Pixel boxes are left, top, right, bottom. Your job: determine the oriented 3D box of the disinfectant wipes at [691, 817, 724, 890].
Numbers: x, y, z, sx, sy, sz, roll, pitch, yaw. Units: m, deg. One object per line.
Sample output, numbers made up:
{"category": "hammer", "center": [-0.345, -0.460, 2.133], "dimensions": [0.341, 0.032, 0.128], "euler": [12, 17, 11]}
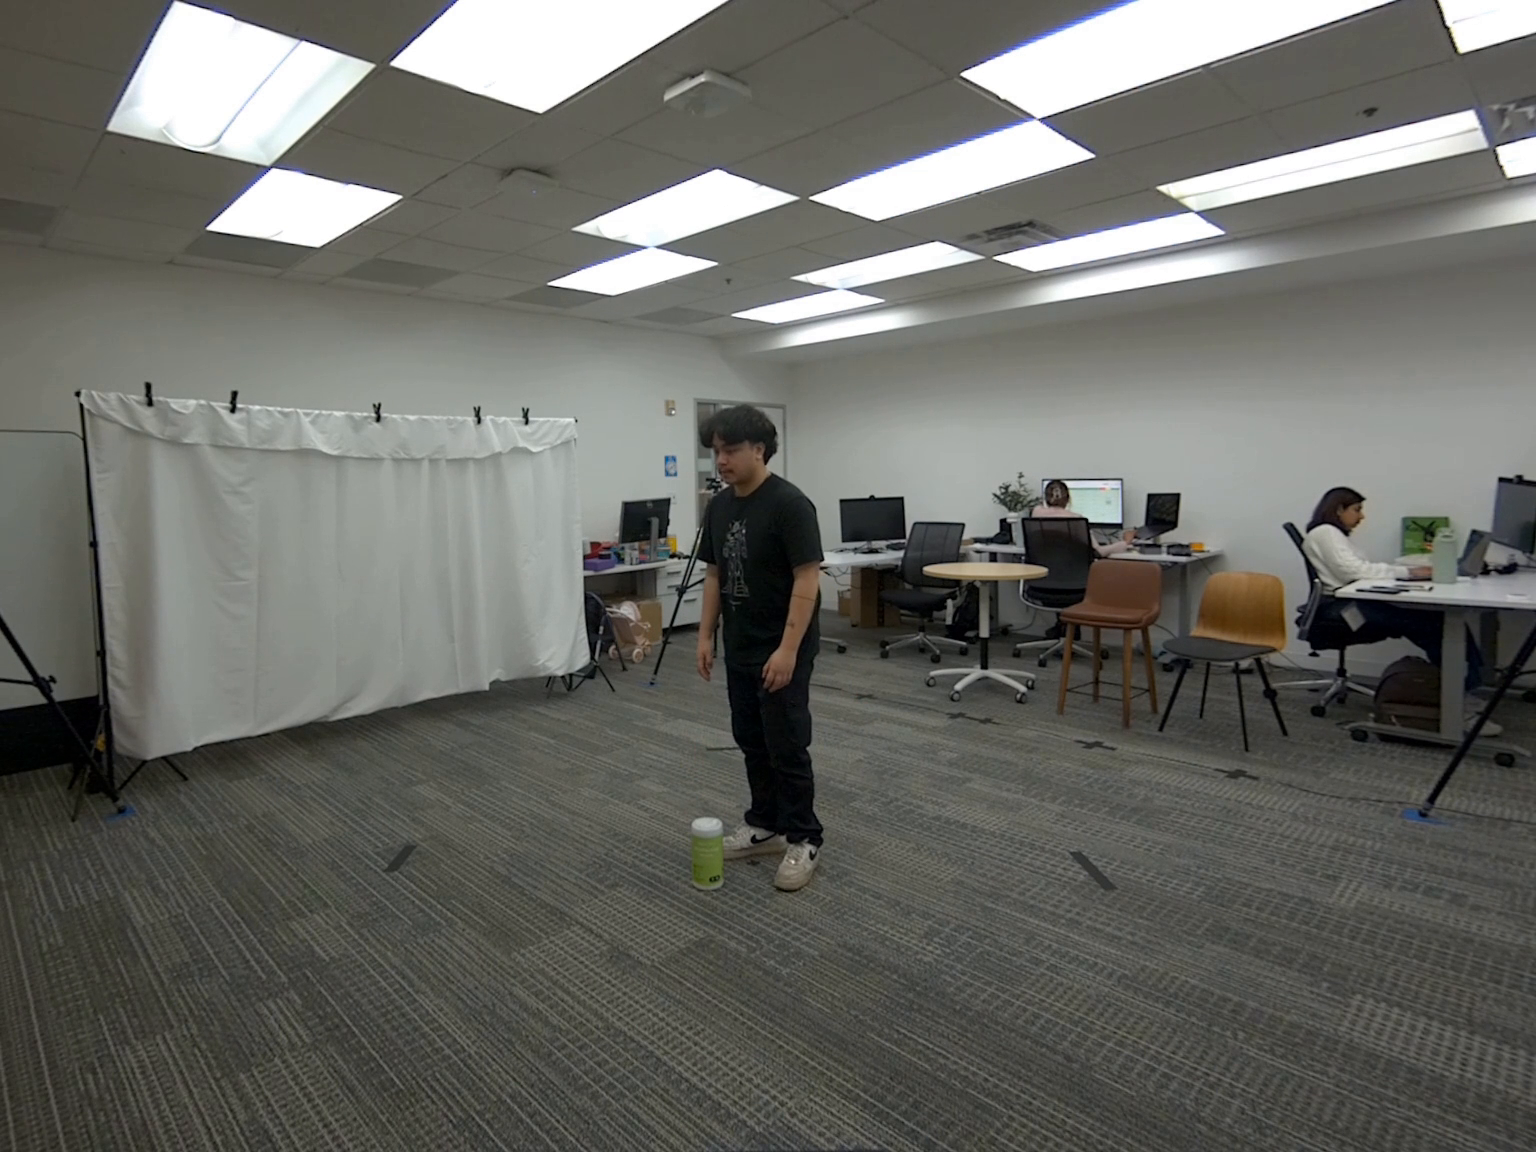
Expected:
{"category": "disinfectant wipes", "center": [-0.210, 0.962, 2.944], "dimensions": [0.118, 0.216, 0.118], "euler": [-1, 6, -2]}
